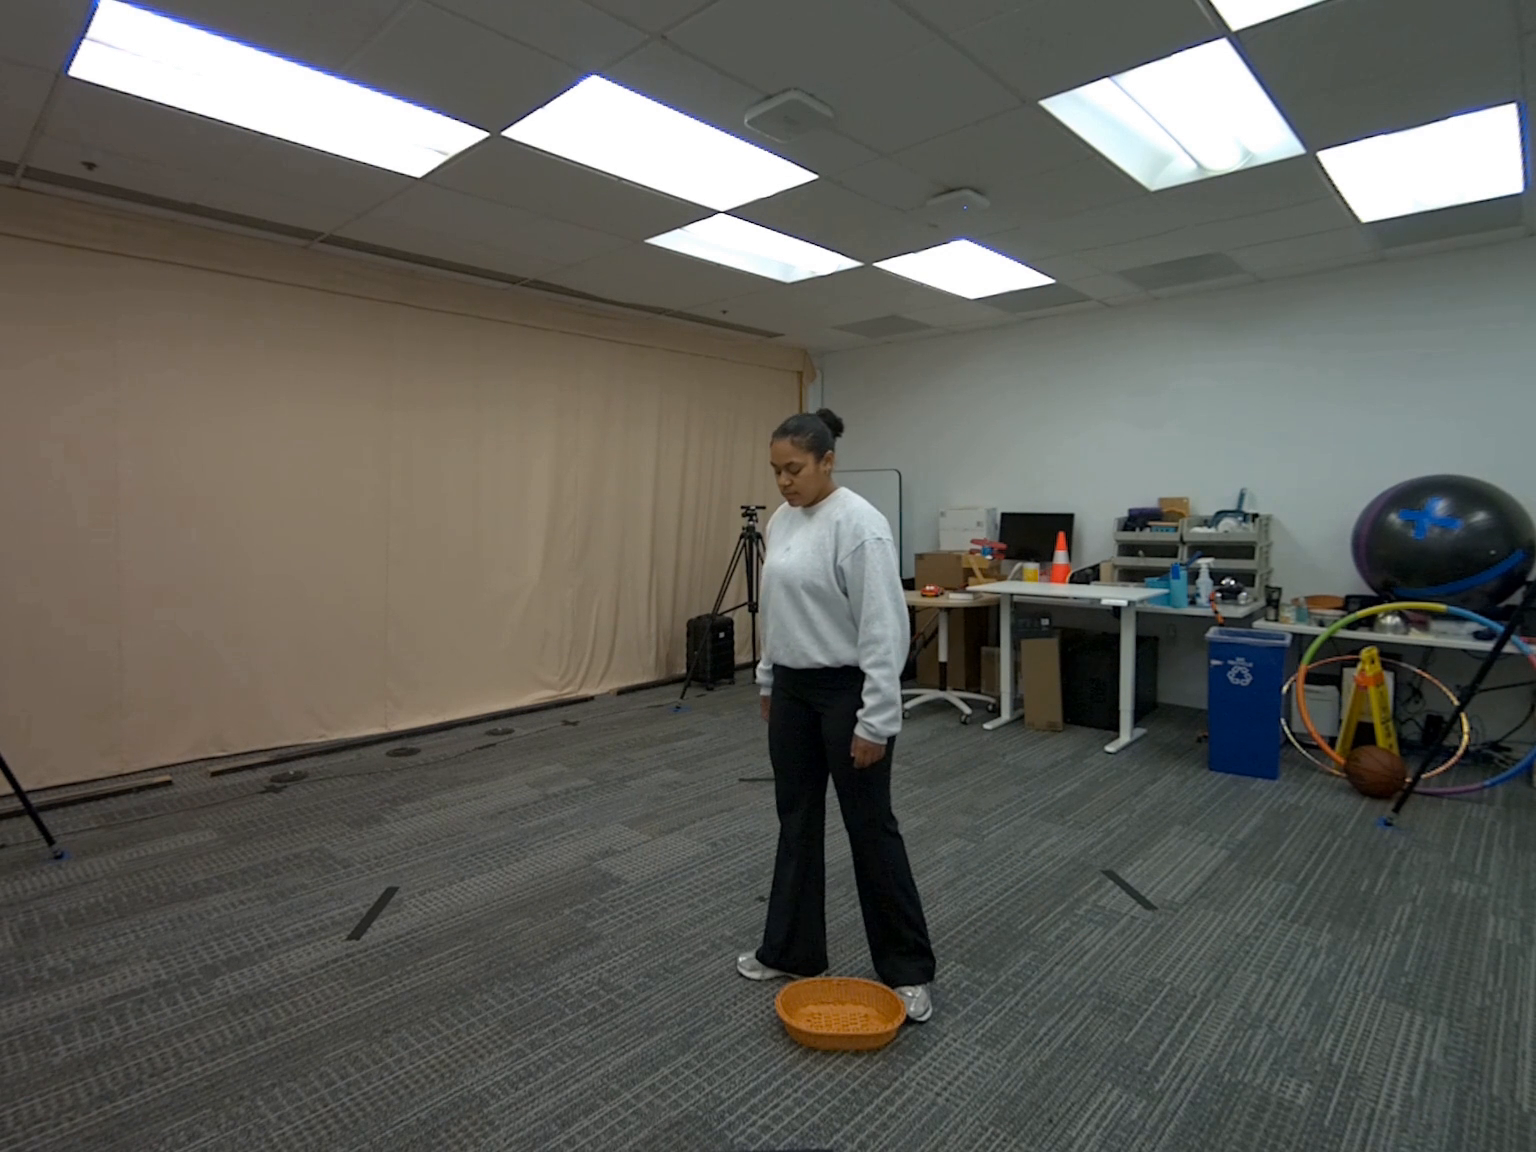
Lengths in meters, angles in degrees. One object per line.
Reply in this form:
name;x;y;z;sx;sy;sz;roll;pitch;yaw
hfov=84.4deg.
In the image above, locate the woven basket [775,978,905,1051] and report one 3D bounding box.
woven basket;0.192;1.161;2.243;0.352;0.073;0.252;1;4;3
